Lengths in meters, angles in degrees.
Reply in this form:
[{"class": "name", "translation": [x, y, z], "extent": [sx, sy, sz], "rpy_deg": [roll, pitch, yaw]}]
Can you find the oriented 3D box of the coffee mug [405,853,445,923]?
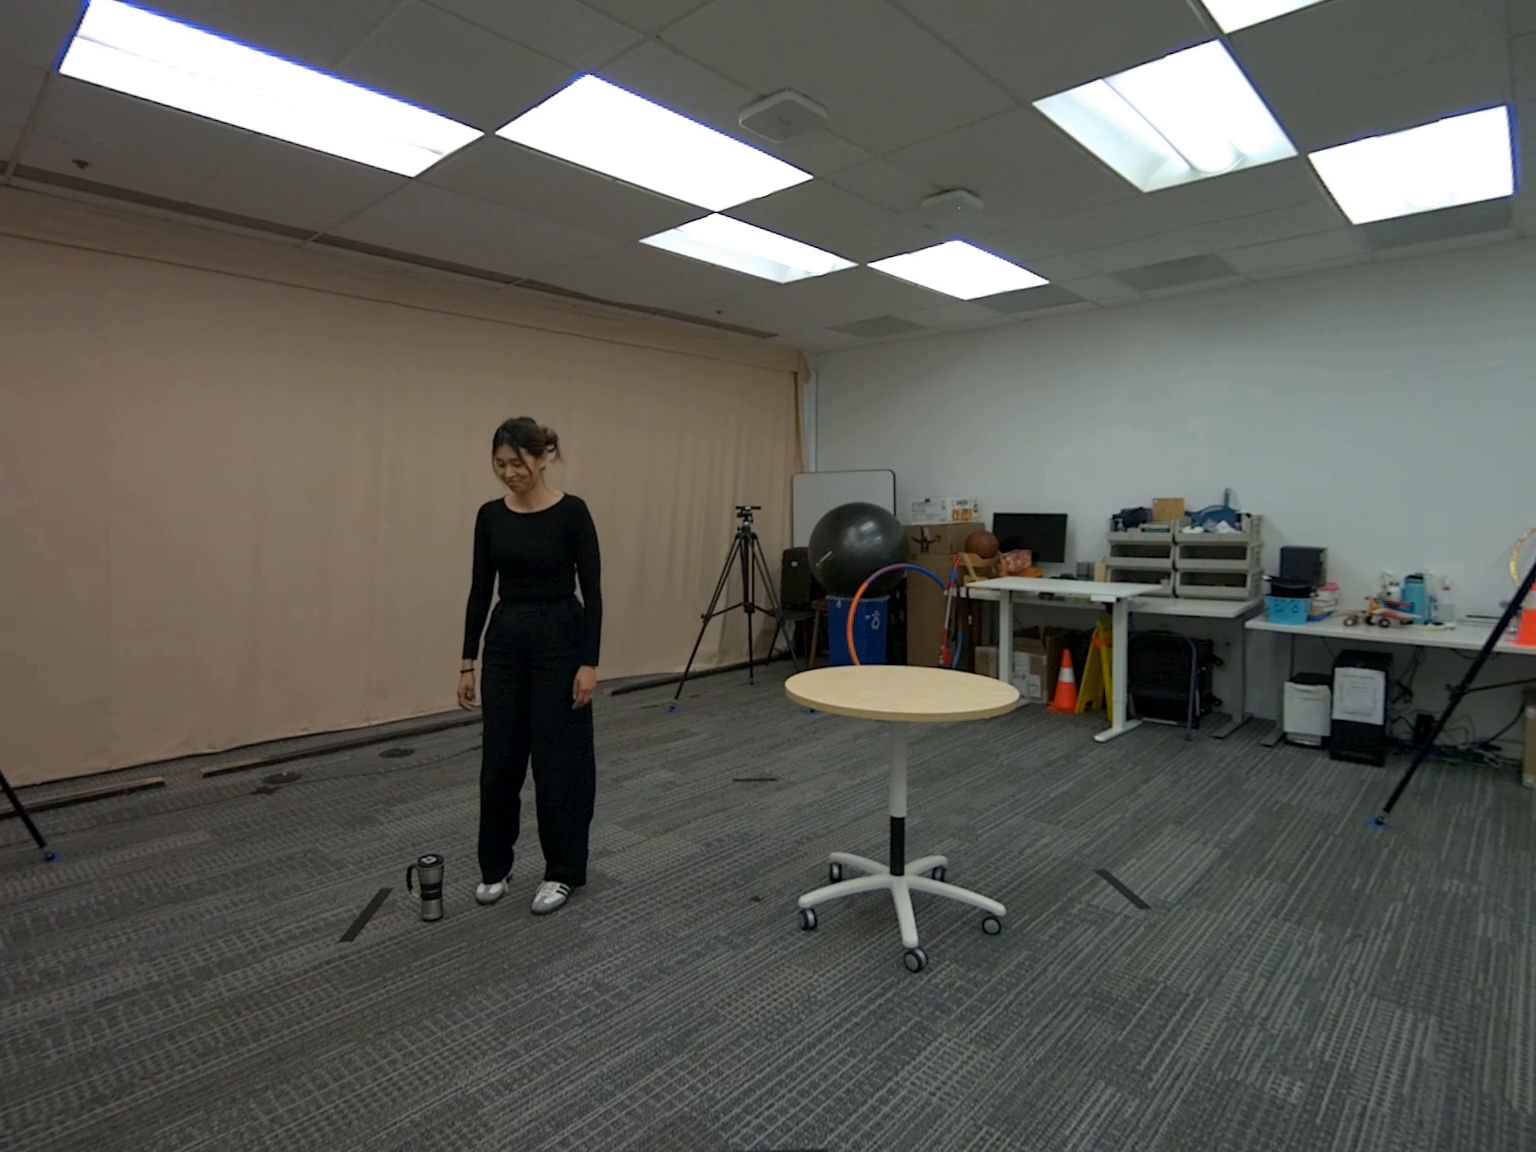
[{"class": "coffee mug", "translation": [-1.173, 1.069, 2.871], "extent": [0.124, 0.202, 0.087], "rpy_deg": [2, 8, 15]}]
